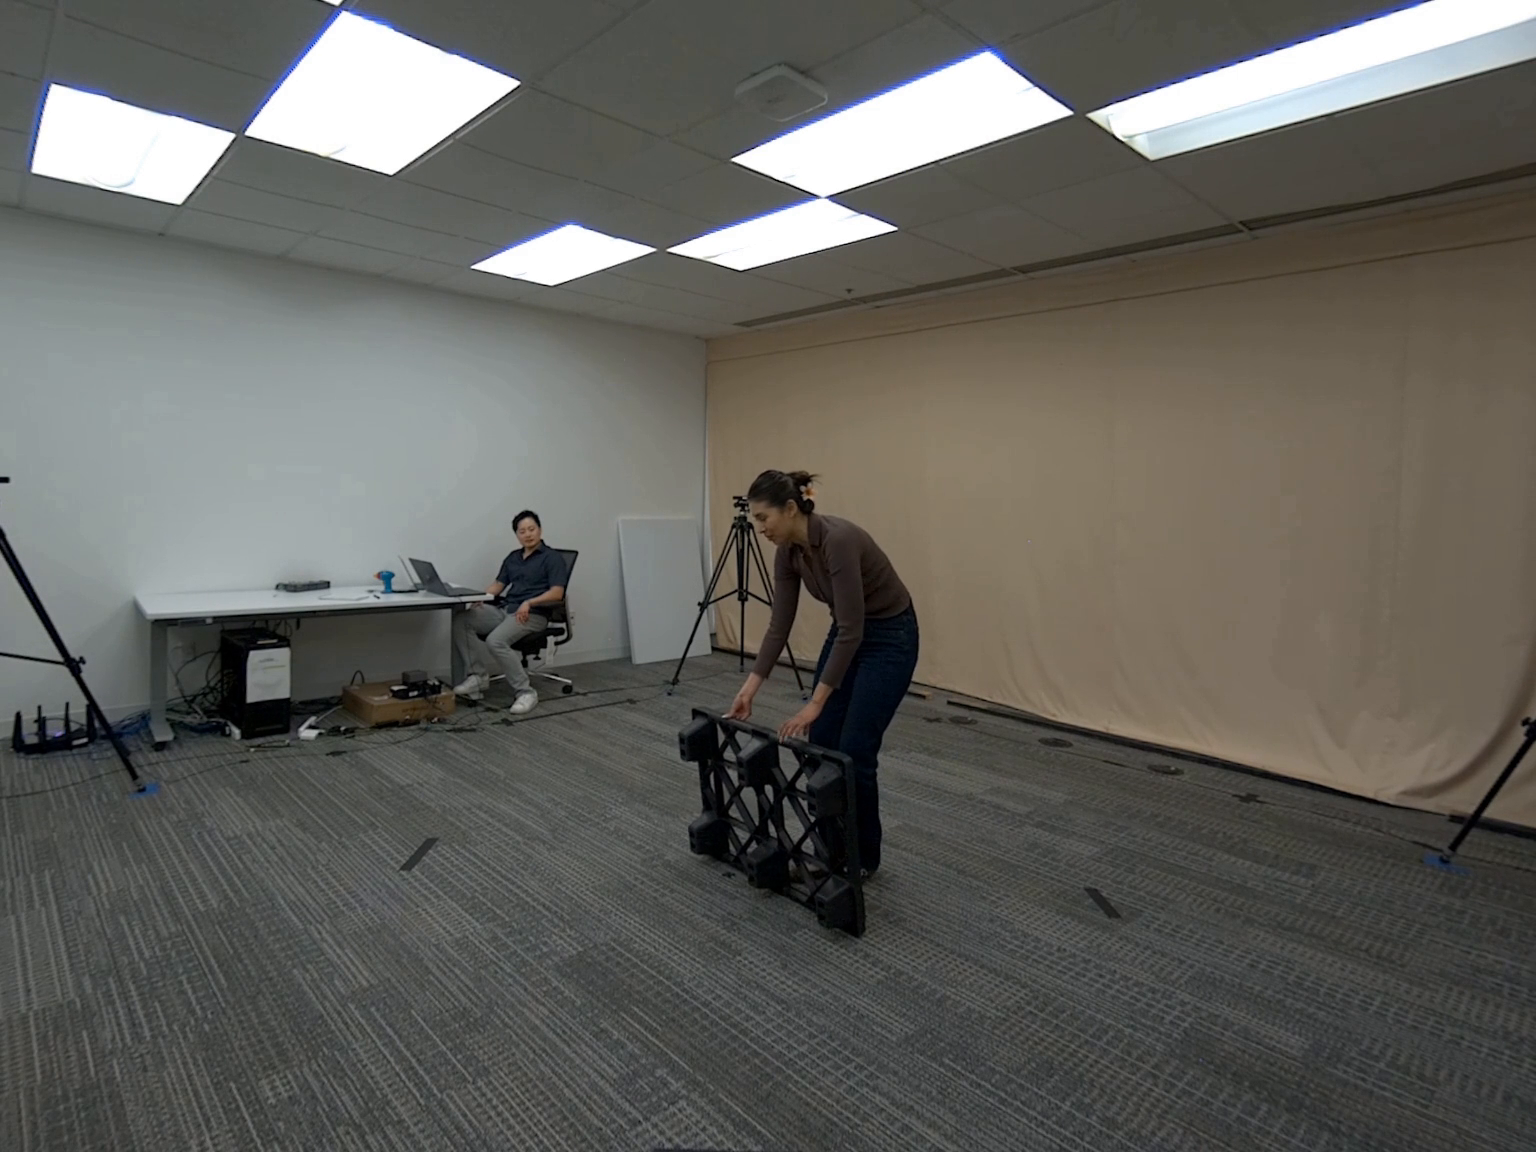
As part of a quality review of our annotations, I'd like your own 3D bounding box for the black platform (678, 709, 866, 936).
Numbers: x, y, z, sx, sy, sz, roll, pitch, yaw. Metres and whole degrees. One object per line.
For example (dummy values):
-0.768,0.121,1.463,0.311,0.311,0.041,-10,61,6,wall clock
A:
-0.028,0.833,2.917,0.140,0.601,0.826,-11,10,-39,black platform
